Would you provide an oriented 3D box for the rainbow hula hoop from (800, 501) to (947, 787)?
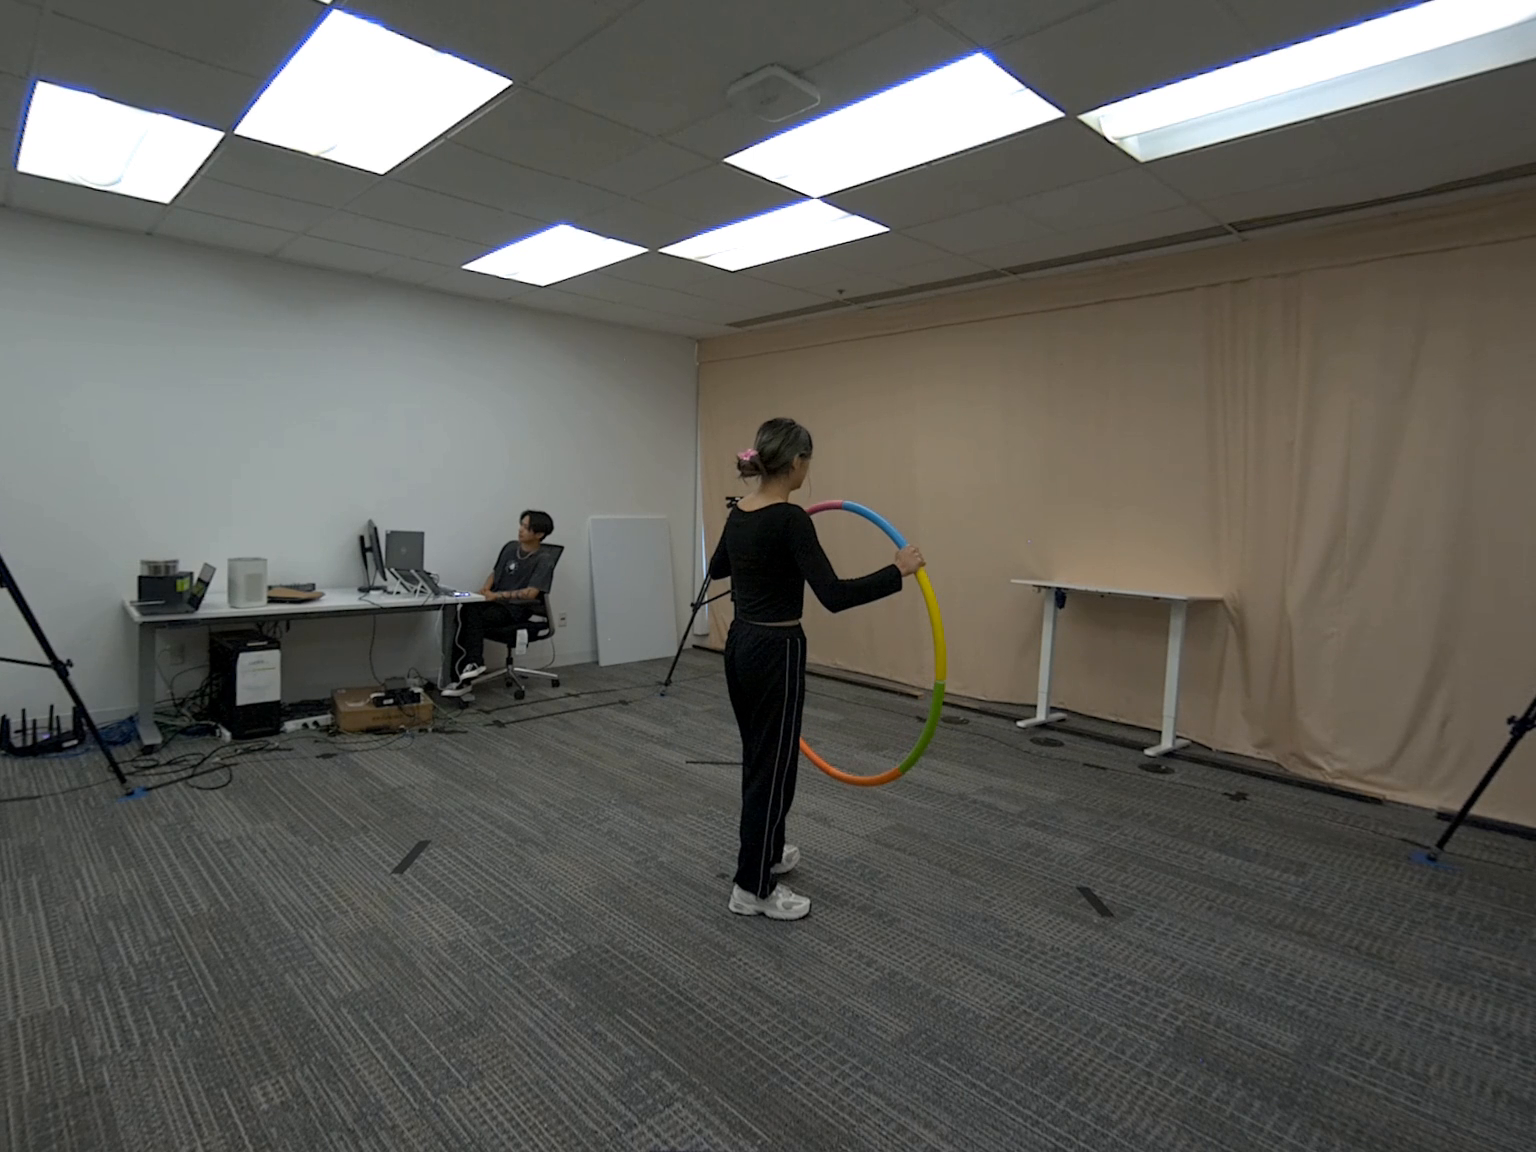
[{"bbox_3d":[0.234,0.231,2.949,0.035,0.974,1.002,-5,7,-33],"label":"rainbow hula hoop"}]
